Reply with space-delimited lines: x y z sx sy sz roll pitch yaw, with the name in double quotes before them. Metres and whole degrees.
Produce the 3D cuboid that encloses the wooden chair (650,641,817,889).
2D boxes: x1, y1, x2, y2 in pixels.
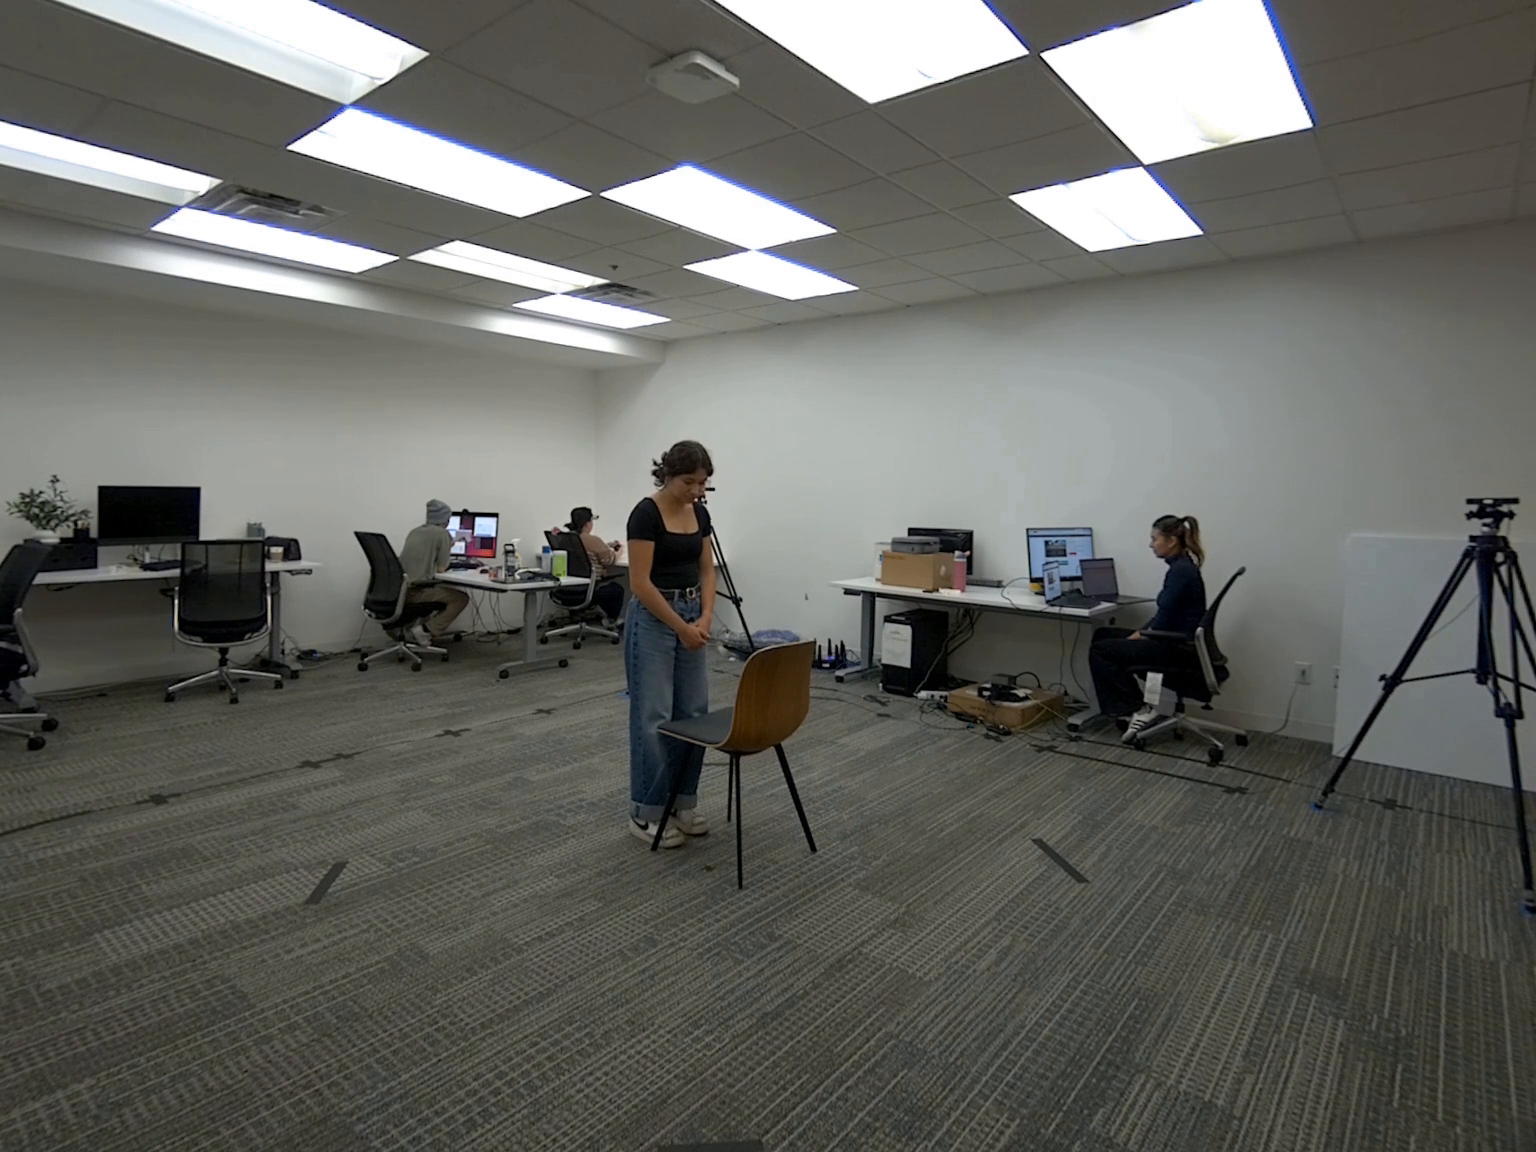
"wooden chair" -0.130 0.632 3.238 0.542 0.873 0.463 9 7 40
